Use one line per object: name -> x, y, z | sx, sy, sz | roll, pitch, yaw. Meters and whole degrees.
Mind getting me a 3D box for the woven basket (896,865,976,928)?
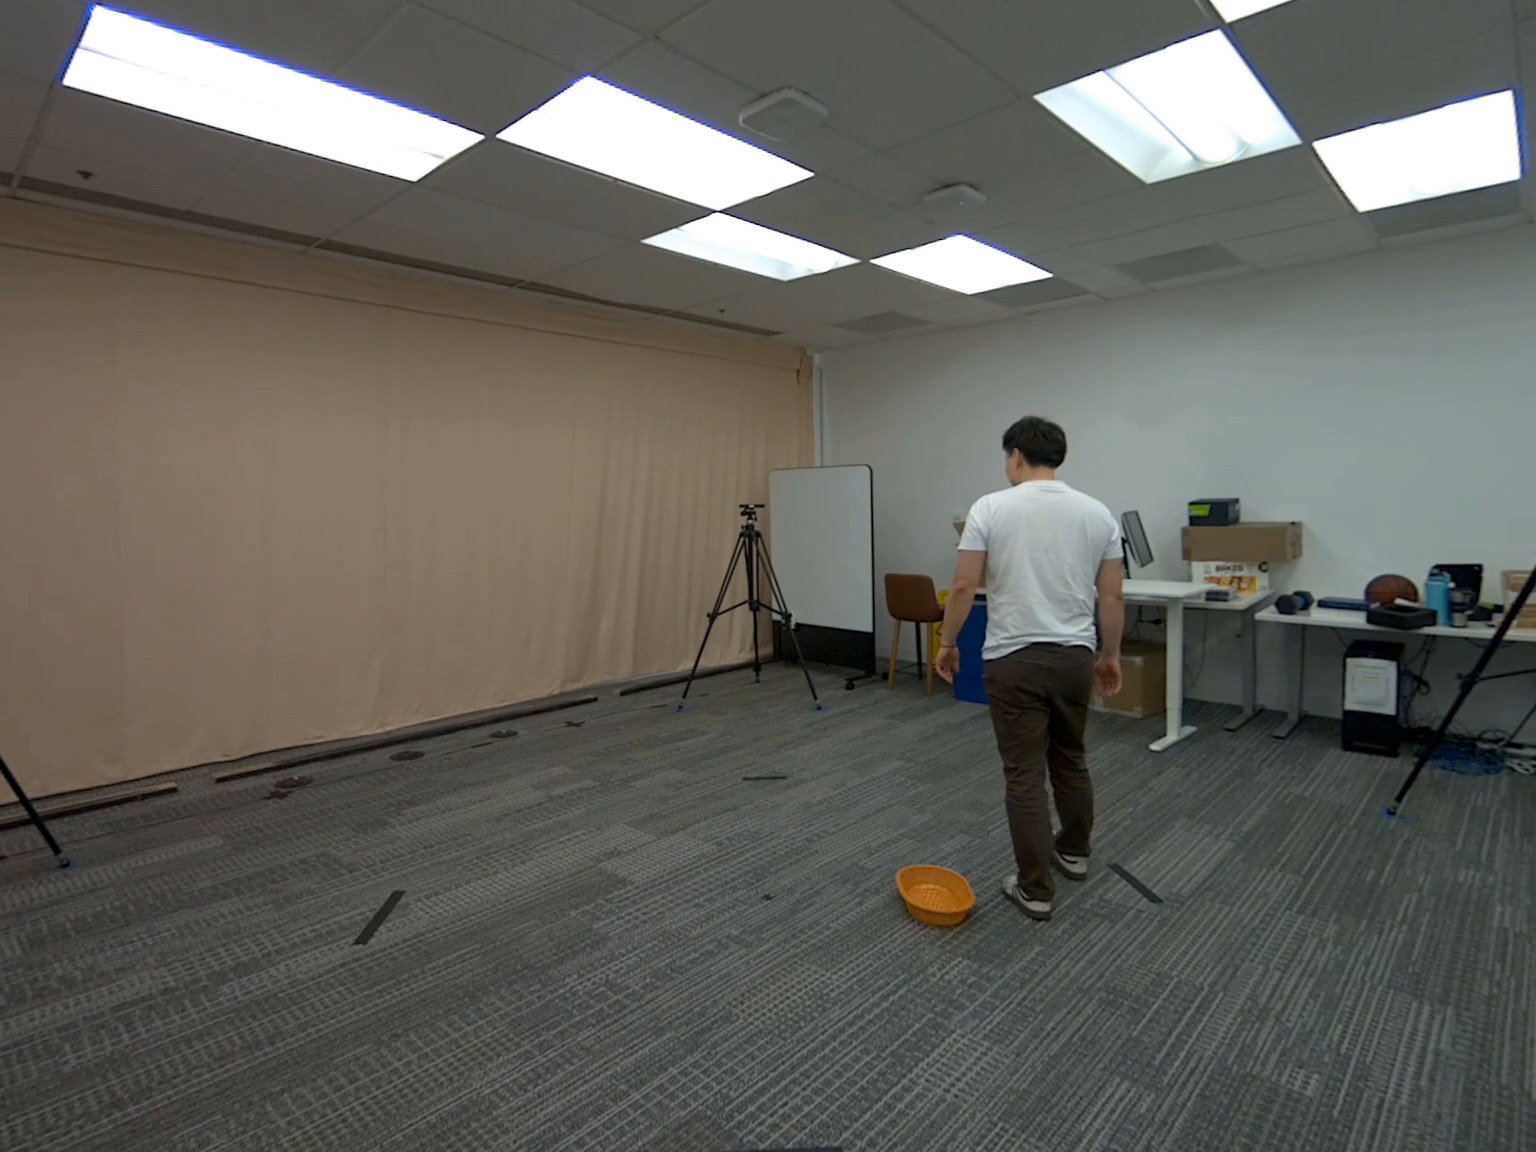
woven basket -> 0.570, 1.102, 2.894 | 0.254, 0.073, 0.349 | 0, 5, 4
